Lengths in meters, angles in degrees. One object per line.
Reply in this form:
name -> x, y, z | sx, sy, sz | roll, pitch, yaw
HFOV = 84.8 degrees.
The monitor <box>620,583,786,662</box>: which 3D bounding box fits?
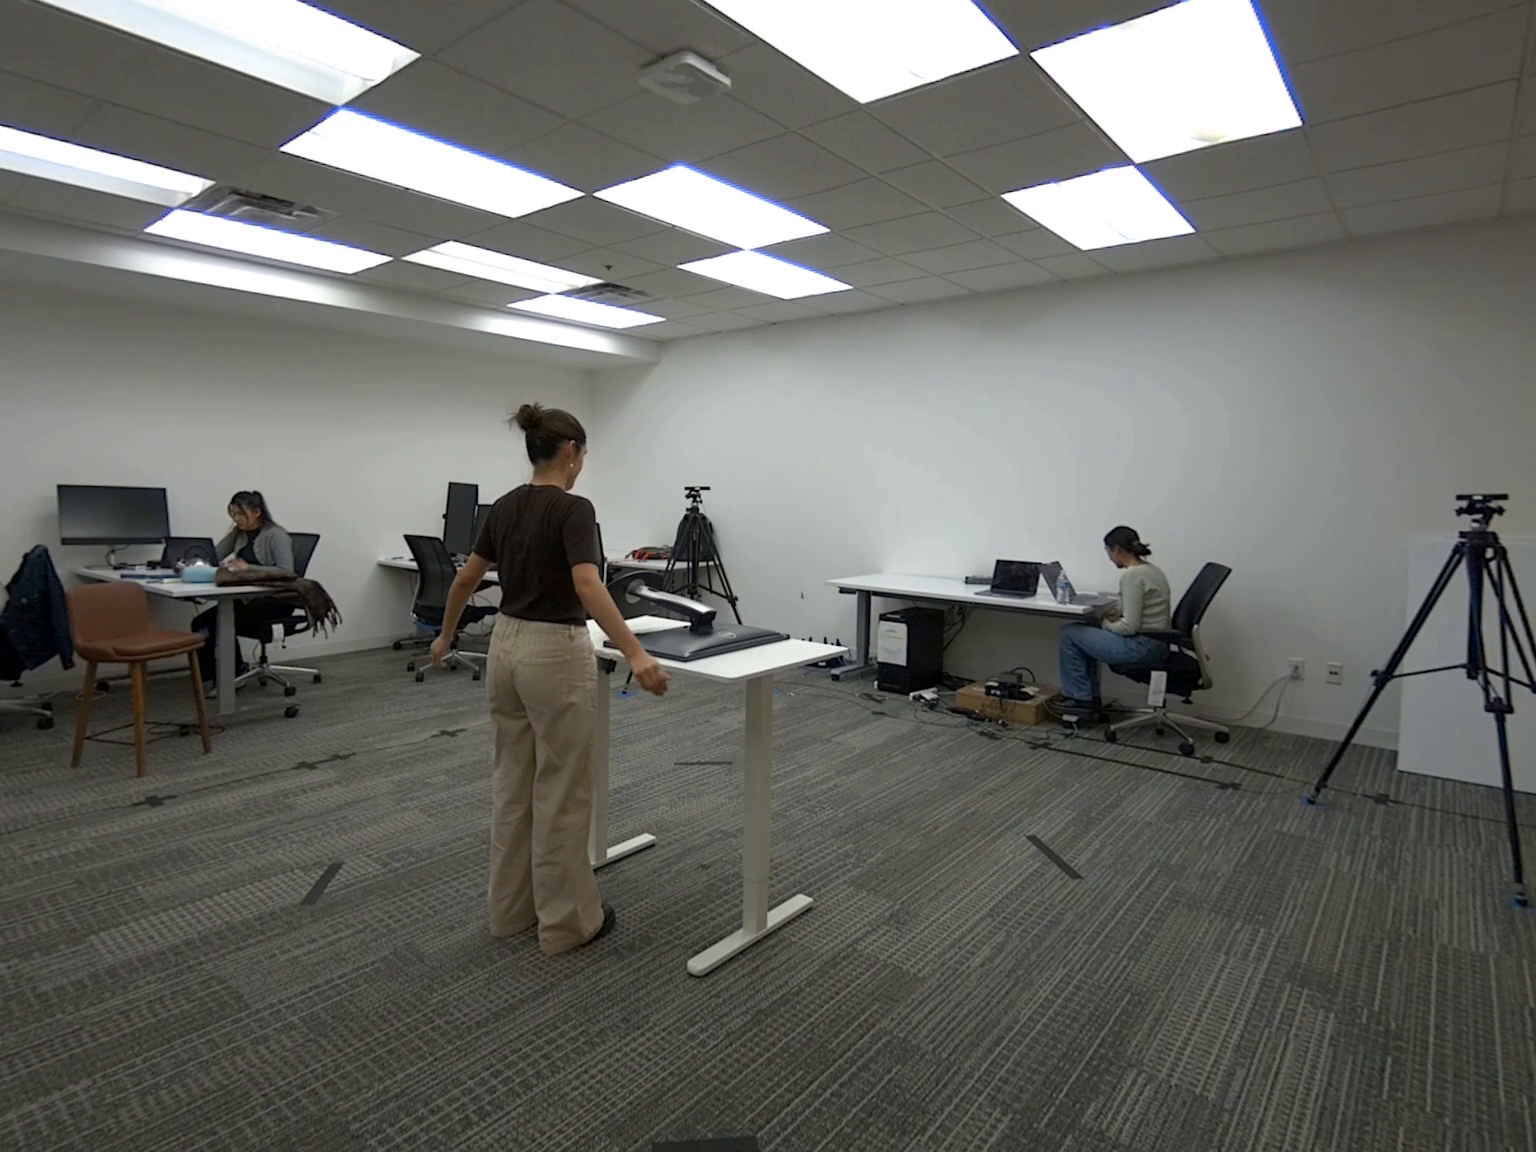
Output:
monitor -> -0.296, 0.152, 2.836 | 0.543, 0.185, 0.525 | 23, 21, 36
